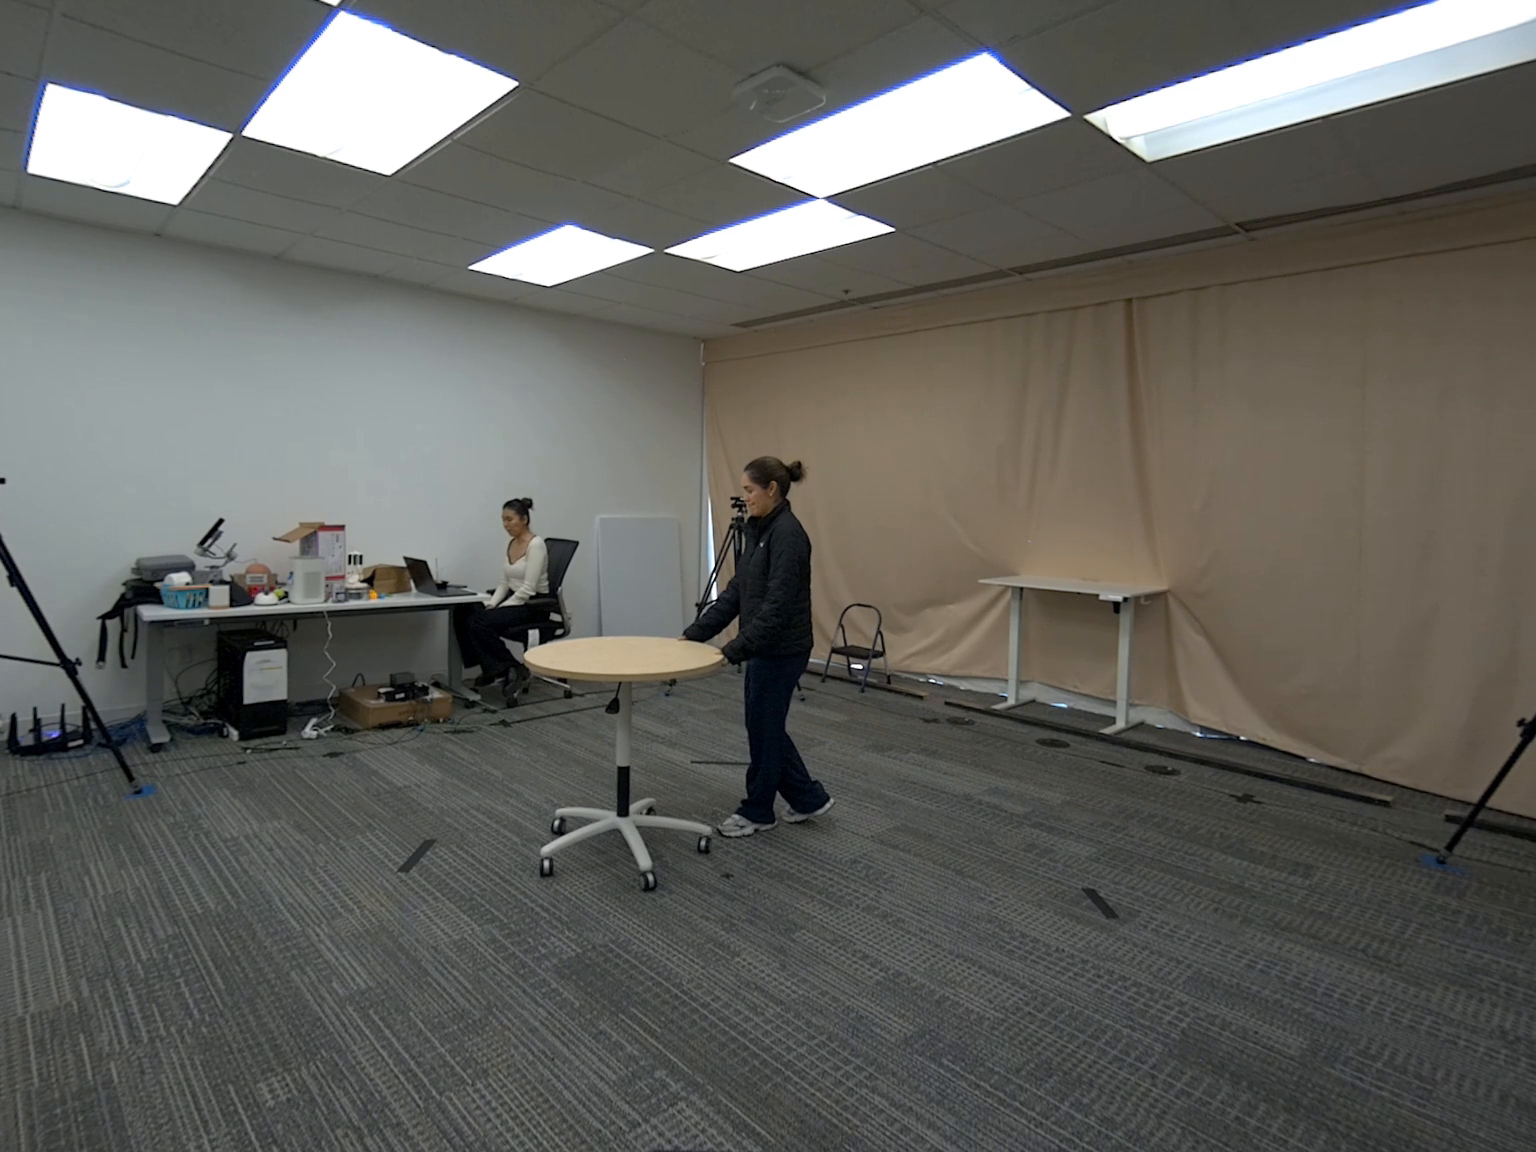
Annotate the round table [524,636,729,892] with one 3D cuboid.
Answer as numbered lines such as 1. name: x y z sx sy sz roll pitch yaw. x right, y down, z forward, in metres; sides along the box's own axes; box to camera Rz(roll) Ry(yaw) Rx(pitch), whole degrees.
1. round table: -0.552 0.691 3.263 0.784 0.784 0.788 1 4 -1
